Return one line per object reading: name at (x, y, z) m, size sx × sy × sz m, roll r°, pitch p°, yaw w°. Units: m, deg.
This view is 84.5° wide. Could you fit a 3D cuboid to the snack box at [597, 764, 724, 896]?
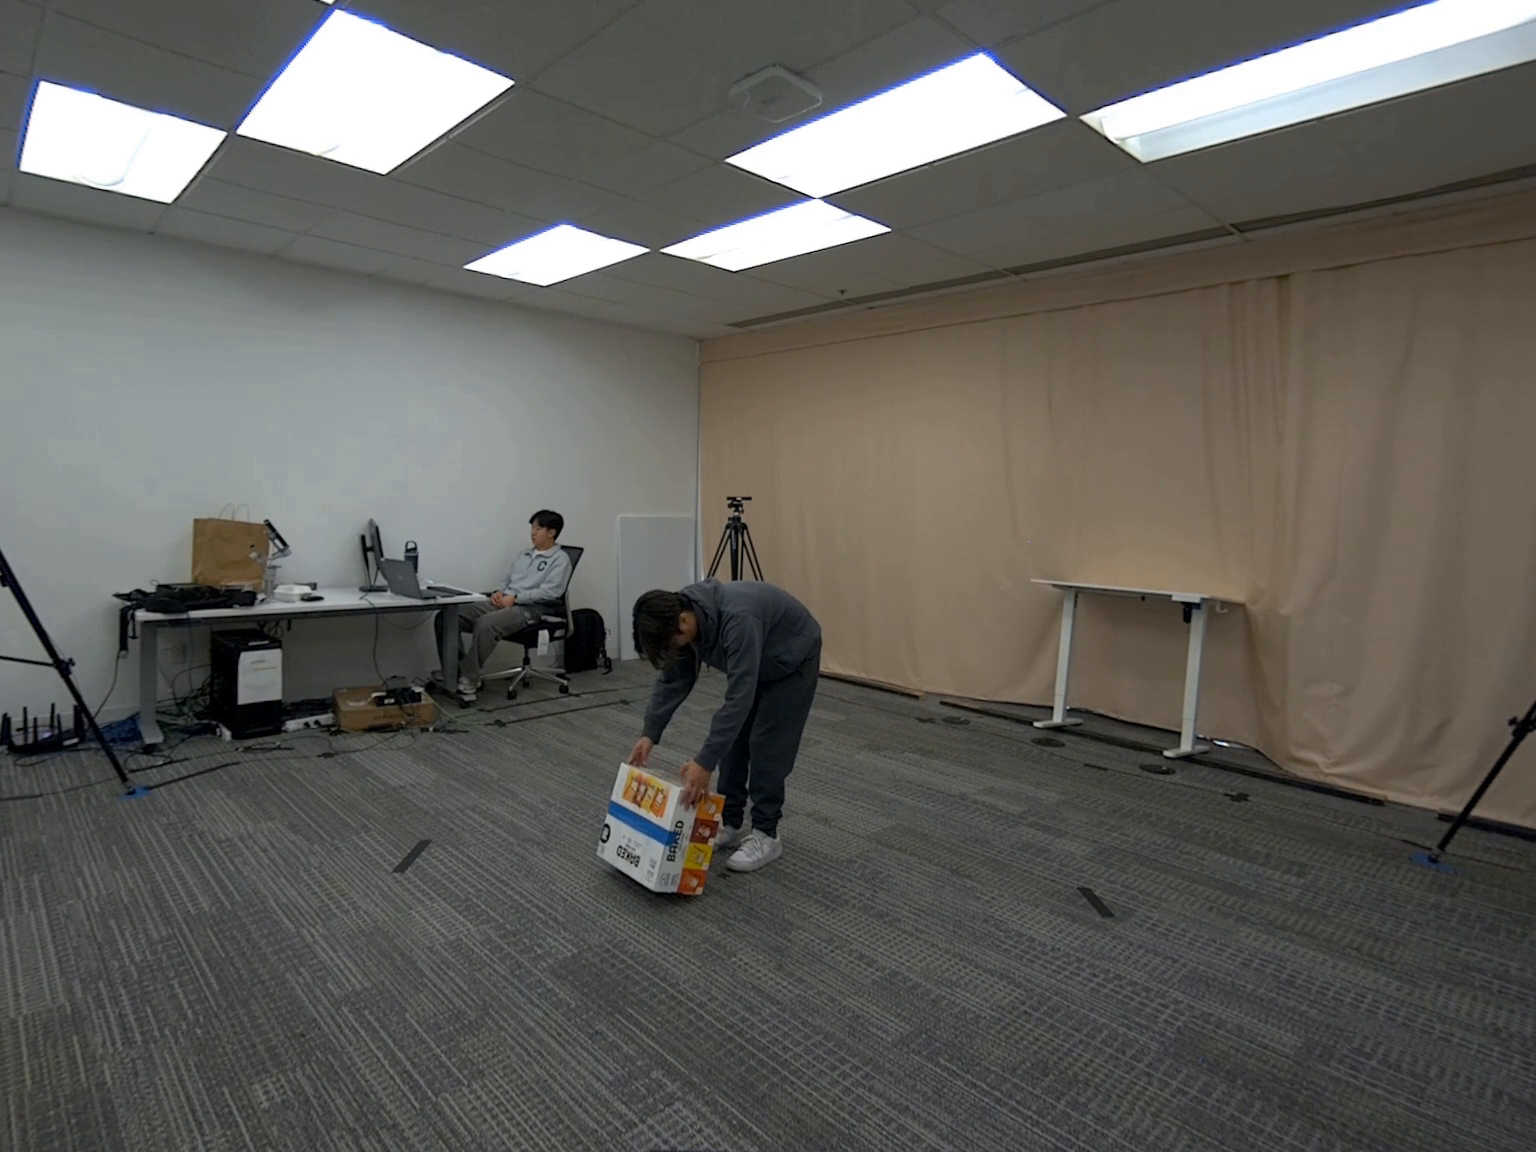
snack box at (-0.399, 0.906, 3.030) m, size 0.200 × 0.342 × 0.415 m, roll 22°, pitch -11°, yaw -37°
